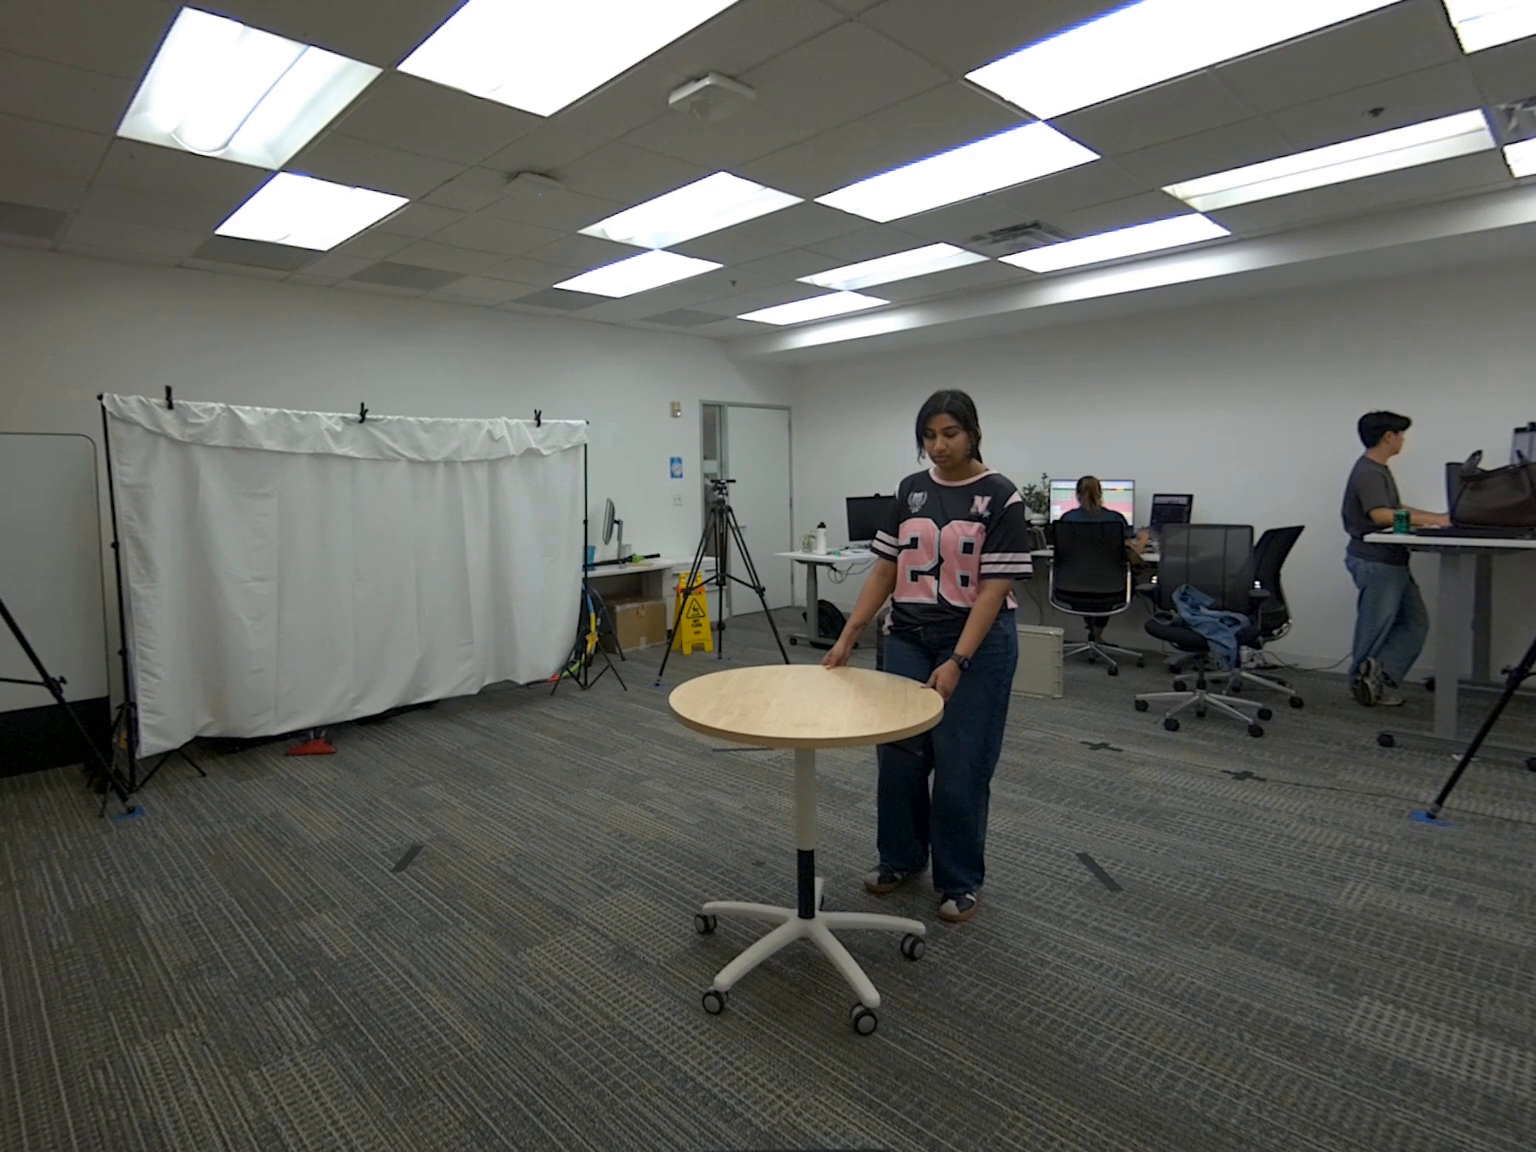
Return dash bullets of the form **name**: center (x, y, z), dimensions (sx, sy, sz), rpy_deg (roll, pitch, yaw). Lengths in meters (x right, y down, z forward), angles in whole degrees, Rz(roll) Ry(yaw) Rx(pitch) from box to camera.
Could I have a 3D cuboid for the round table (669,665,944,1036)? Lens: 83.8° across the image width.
- **round table**: center (0.105, 0.729, 2.451), dimensions (0.763, 0.790, 0.768), rpy_deg (-1, 6, -2)
